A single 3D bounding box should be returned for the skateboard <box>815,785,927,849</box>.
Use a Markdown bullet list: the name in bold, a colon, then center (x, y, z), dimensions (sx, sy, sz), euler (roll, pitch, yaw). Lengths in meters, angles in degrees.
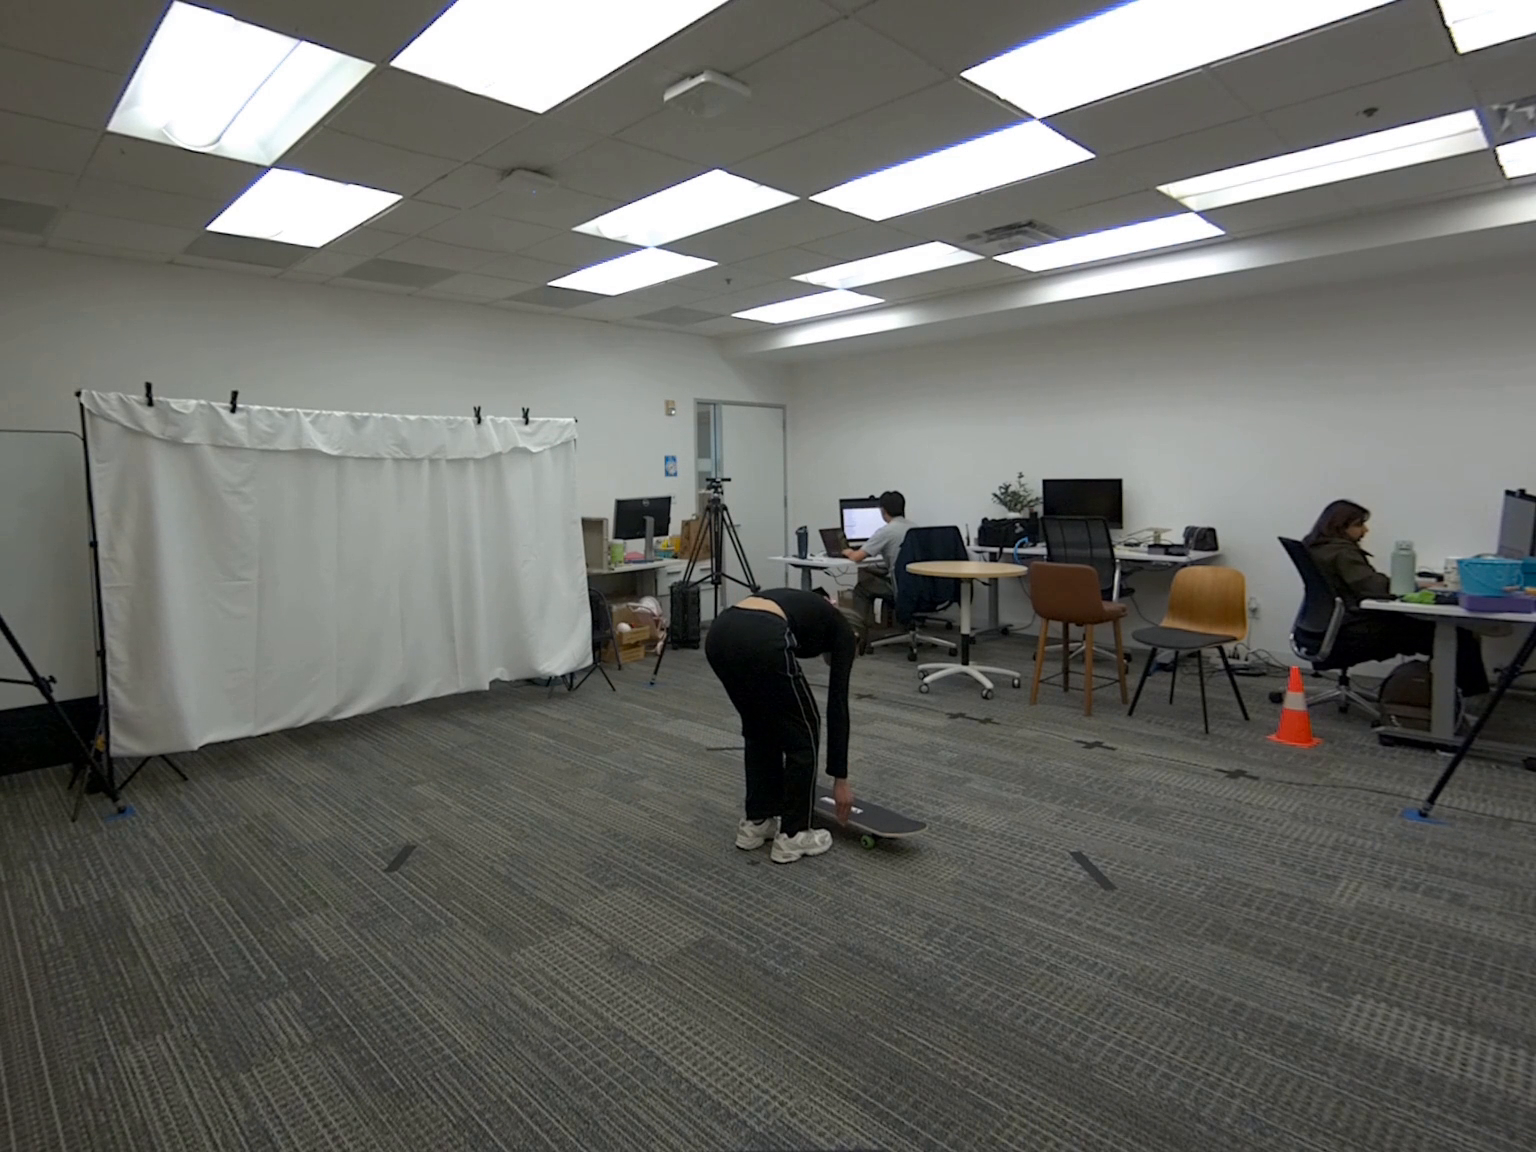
- **skateboard**: center (0.310, 0.953, 3.412), dimensions (0.188, 0.110, 0.810), euler (-5, 7, -42)
